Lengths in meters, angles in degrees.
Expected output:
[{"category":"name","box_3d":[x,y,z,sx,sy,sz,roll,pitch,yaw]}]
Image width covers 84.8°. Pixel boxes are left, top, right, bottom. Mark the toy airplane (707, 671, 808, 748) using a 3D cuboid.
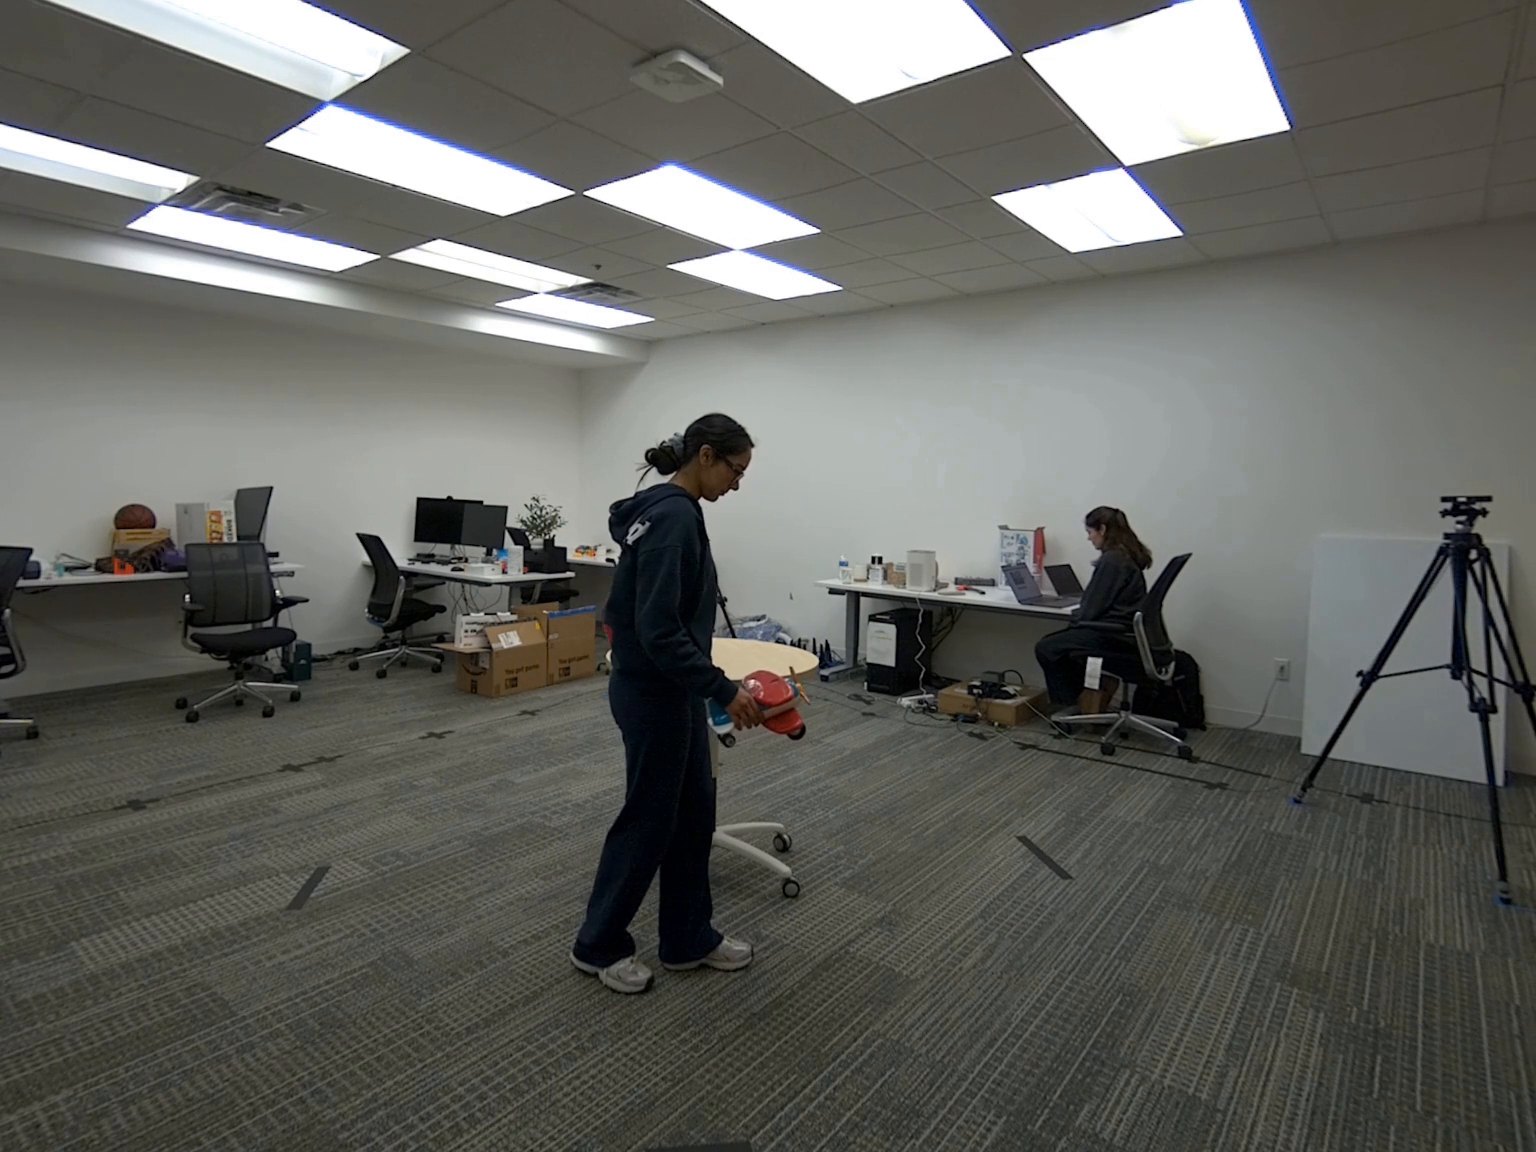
[{"category":"toy airplane","box_3d":[-0.038,0.361,2.218,0.253,0.155,0.260,-13,13,-43]}]
